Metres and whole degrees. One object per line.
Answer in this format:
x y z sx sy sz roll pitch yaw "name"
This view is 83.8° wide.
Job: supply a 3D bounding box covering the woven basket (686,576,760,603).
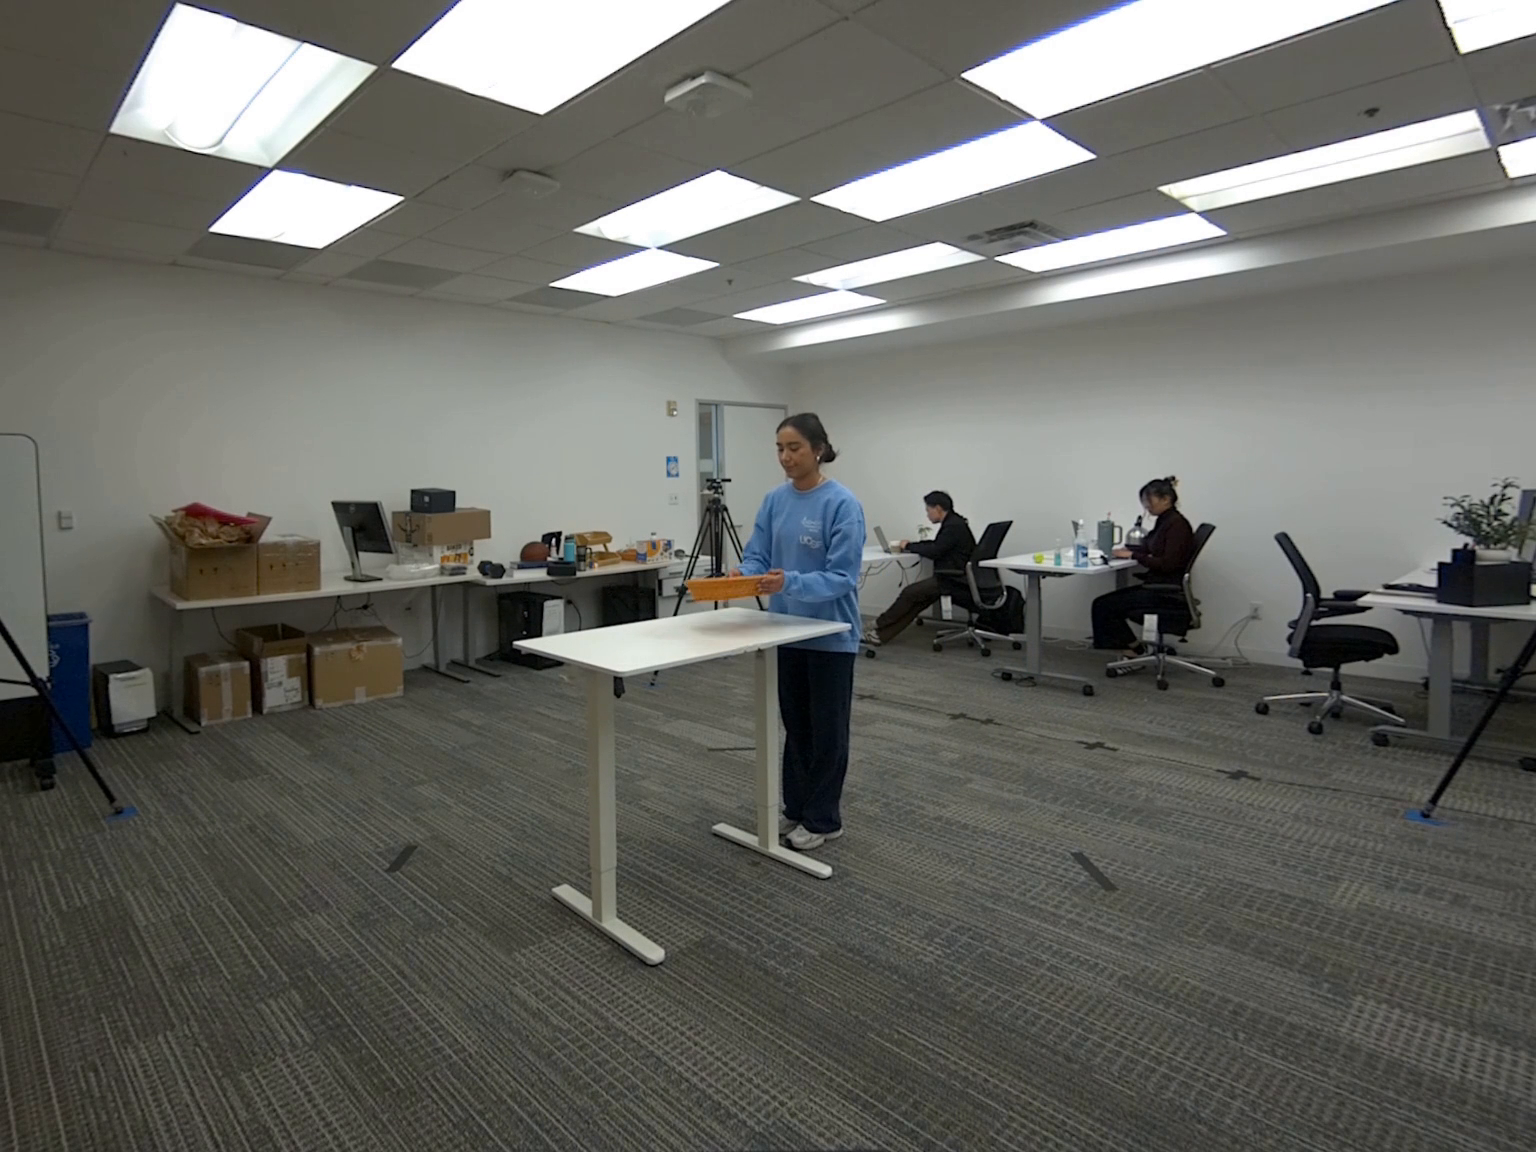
-0.116 0.049 2.929 0.342 0.073 0.258 -3 1 -27 "woven basket"
